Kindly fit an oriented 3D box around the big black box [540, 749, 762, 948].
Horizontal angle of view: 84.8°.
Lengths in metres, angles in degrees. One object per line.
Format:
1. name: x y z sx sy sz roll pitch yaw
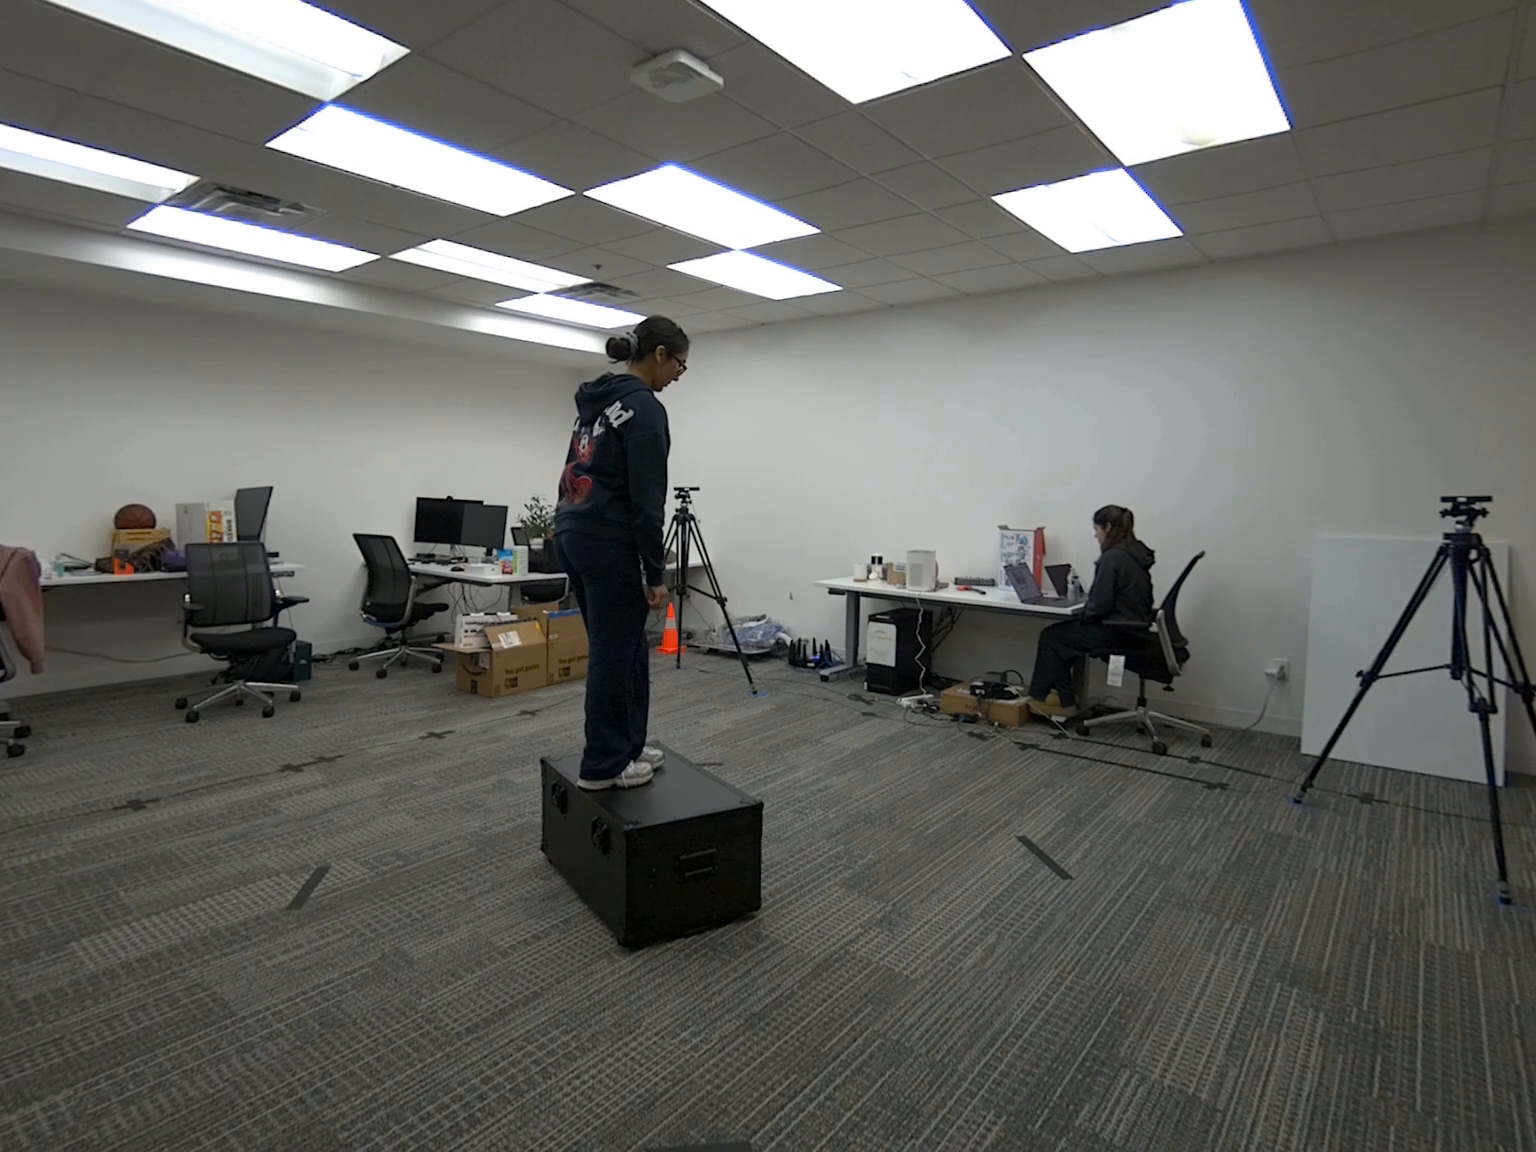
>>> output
1. big black box: -0.468 0.894 2.987 0.385 0.520 0.890 0 5 -34
